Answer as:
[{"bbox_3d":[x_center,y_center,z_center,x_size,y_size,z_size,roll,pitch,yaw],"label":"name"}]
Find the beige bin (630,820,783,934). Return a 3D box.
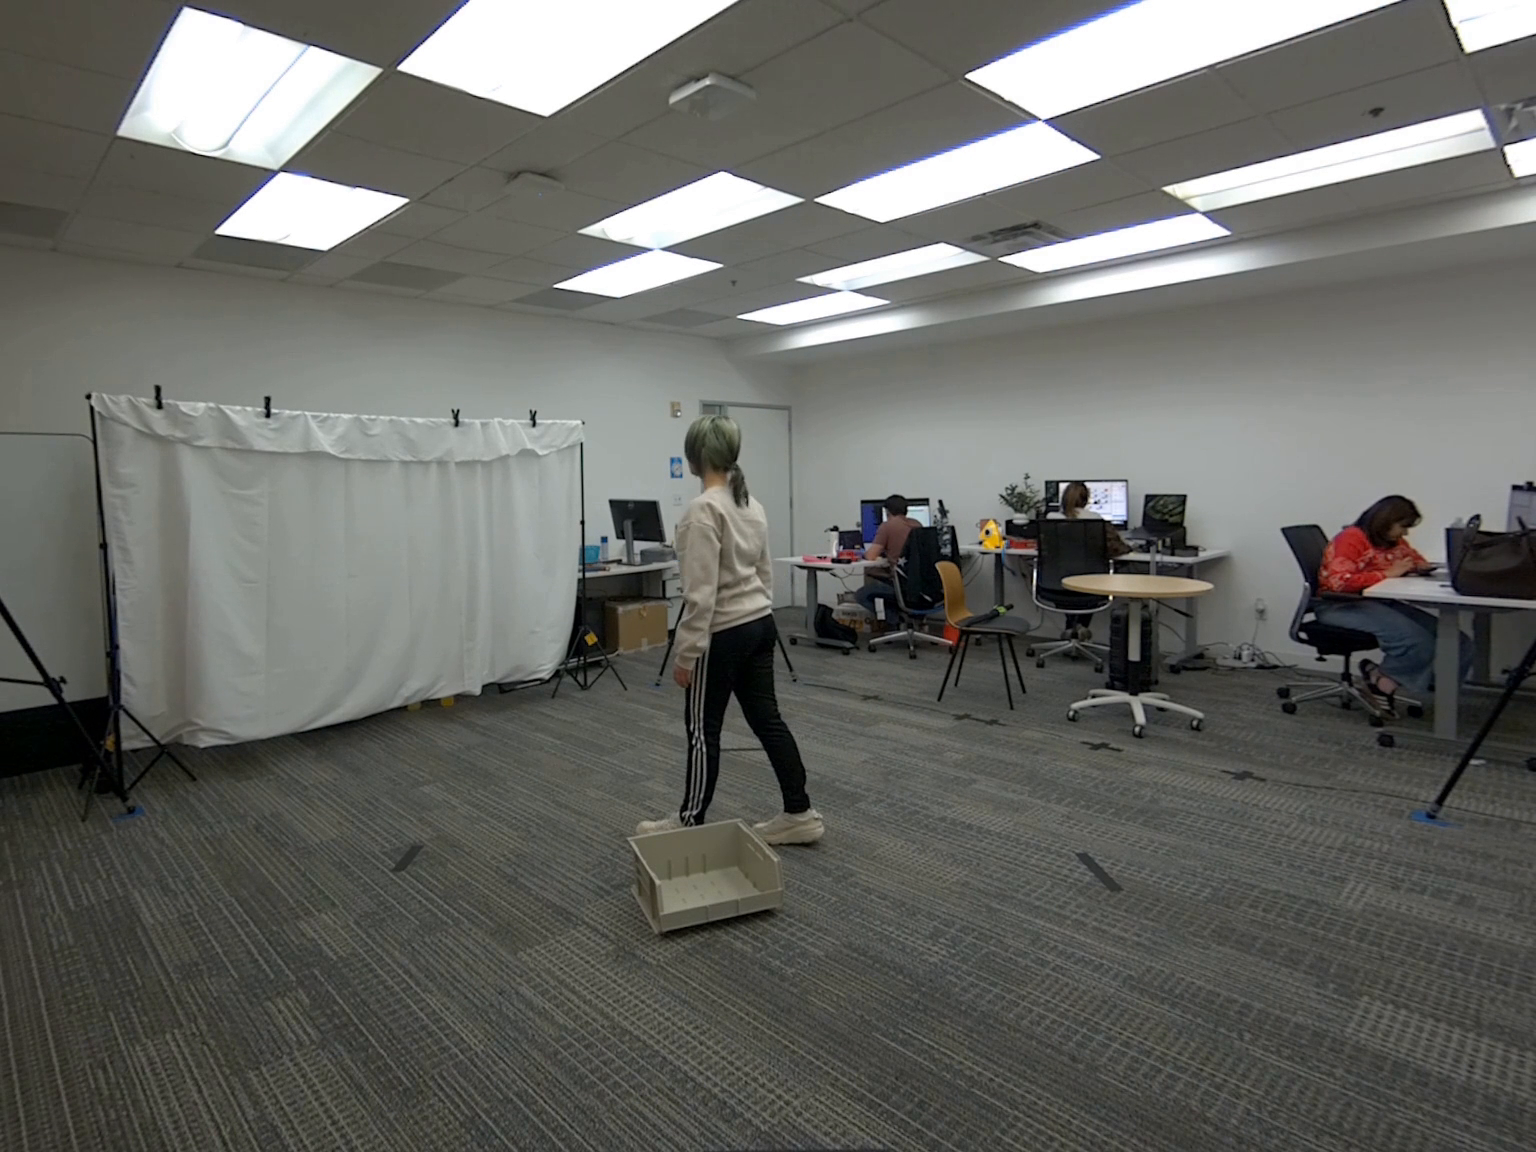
[{"bbox_3d":[-0.210,0.993,2.825,0.414,0.188,0.386,-4,6,-22],"label":"beige bin"}]
